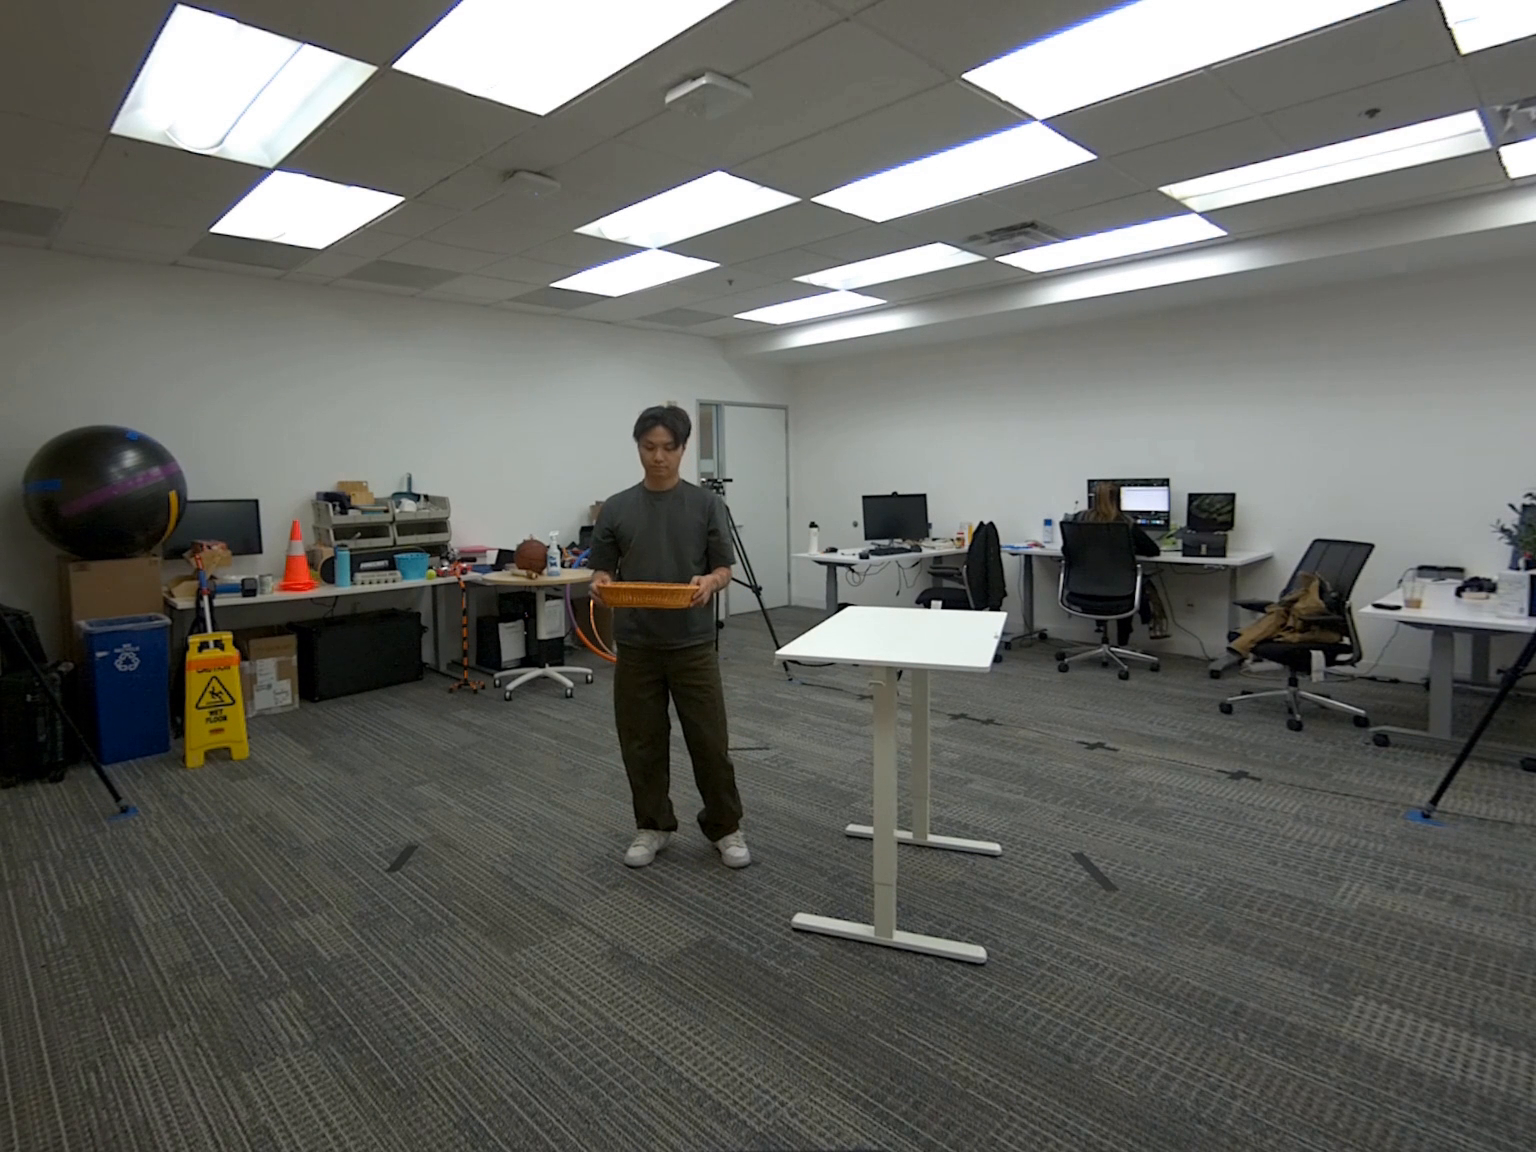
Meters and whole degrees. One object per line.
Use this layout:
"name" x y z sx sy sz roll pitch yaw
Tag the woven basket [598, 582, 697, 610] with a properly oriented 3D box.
"woven basket" -0.406 0.072 2.846 0.353 0.073 0.251 1 2 6
